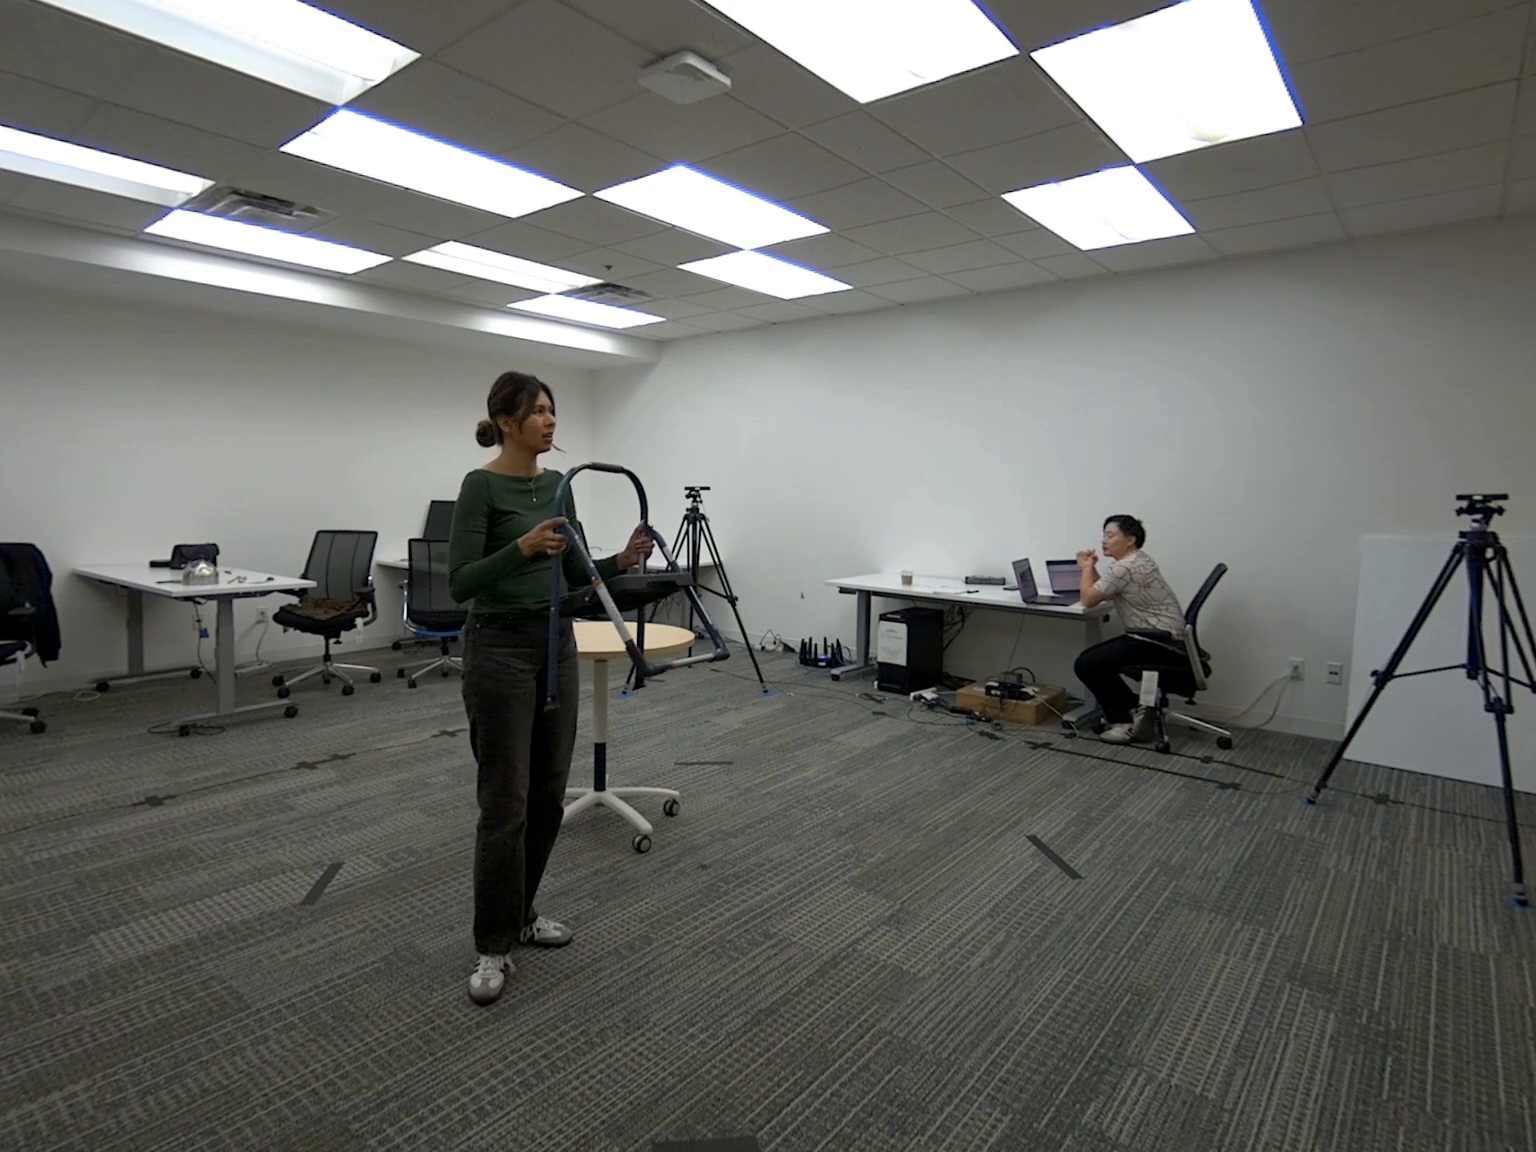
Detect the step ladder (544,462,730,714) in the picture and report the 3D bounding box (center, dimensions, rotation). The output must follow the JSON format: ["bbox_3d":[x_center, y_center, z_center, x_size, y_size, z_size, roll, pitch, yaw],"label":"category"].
[{"bbox_3d":[-0.438,0.001,2.335,0.354,0.613,0.419,-22,-10,25],"label":"step ladder"}]
